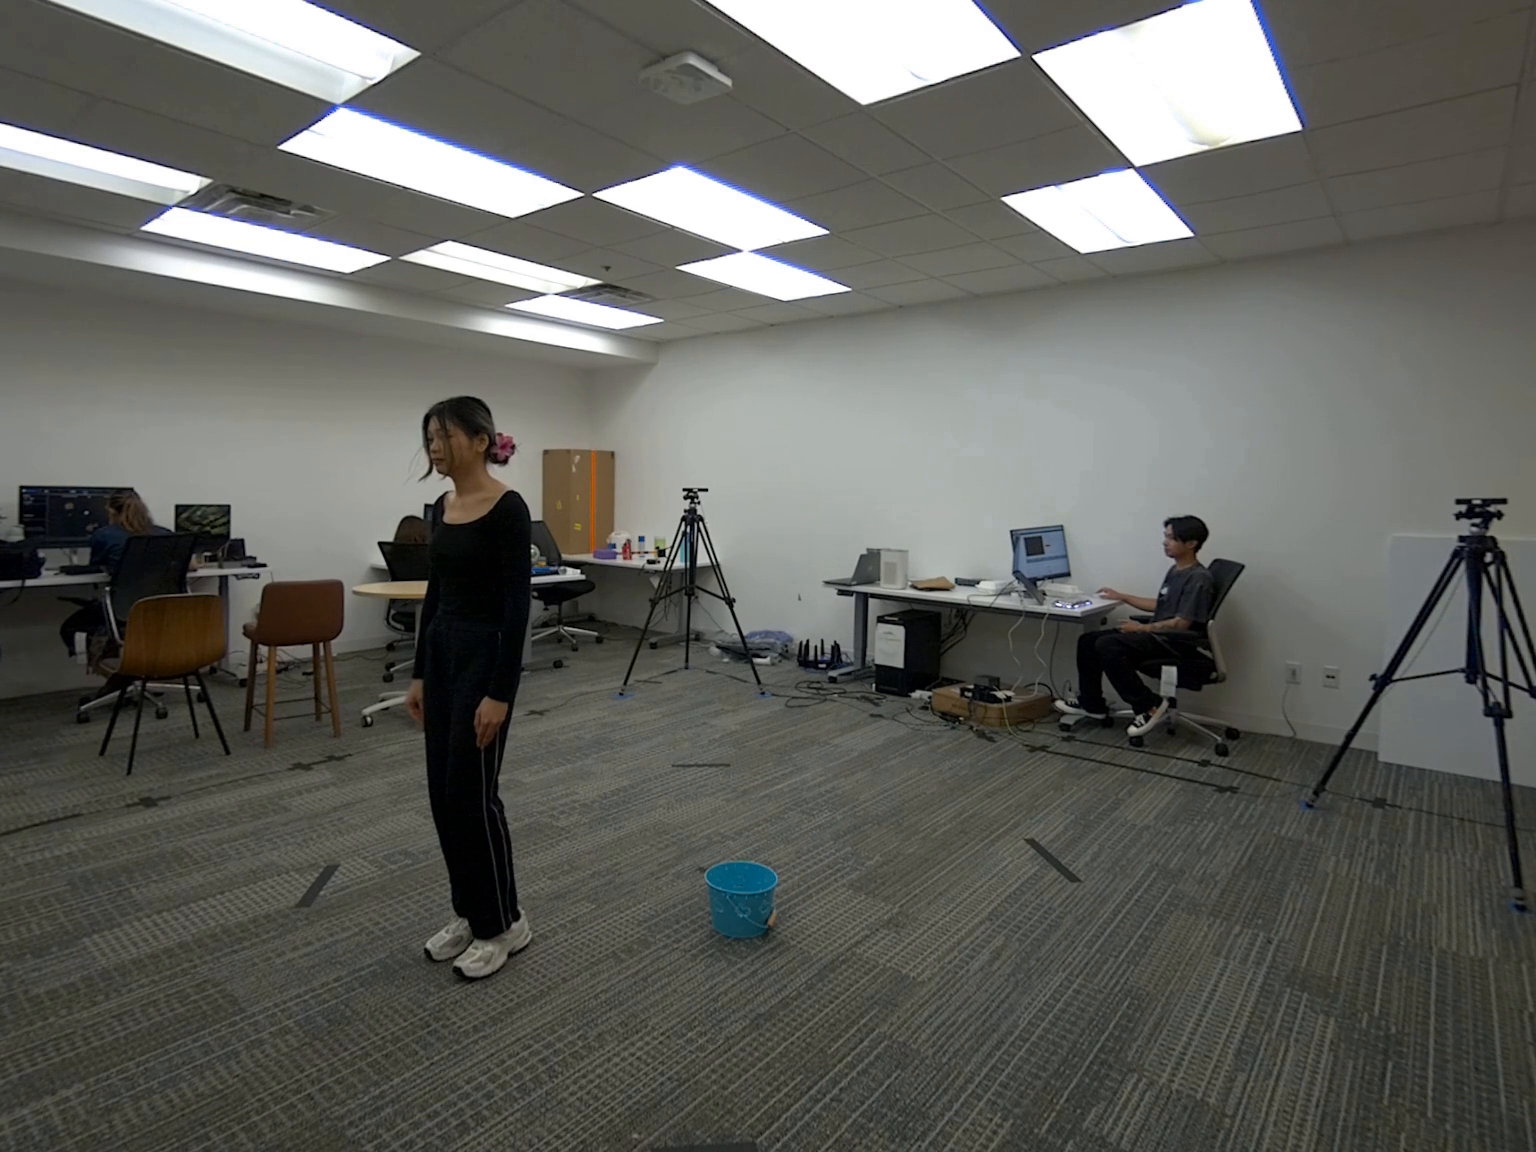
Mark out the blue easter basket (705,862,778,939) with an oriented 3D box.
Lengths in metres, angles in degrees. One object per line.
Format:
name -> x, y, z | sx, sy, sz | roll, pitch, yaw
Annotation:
blue easter basket -> -0.092, 1.031, 2.721 | 0.243, 0.155, 0.245 | 1, 4, -2
